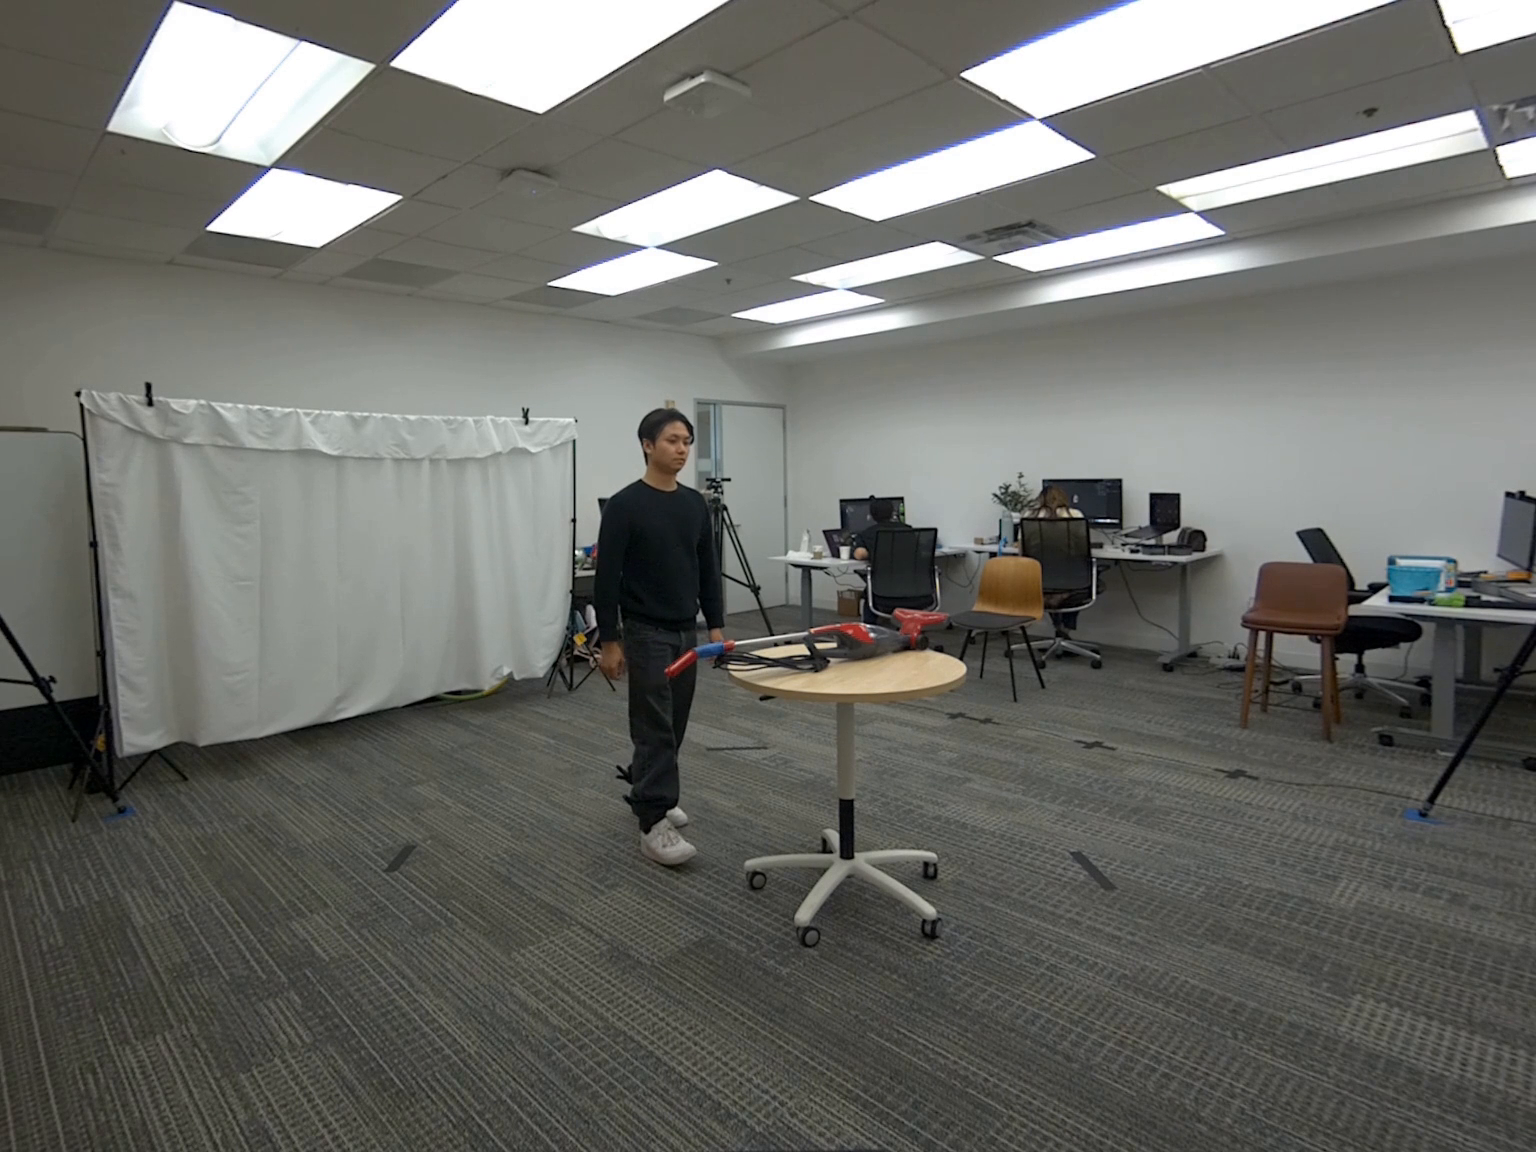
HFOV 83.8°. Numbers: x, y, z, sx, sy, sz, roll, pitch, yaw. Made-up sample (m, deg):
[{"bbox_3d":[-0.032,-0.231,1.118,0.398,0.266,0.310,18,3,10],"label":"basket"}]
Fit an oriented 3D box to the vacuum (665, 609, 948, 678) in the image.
[{"bbox_3d":[0.130,0.241,2.751,1.023,0.143,0.260,-6,8,-35],"label":"vacuum"}]
